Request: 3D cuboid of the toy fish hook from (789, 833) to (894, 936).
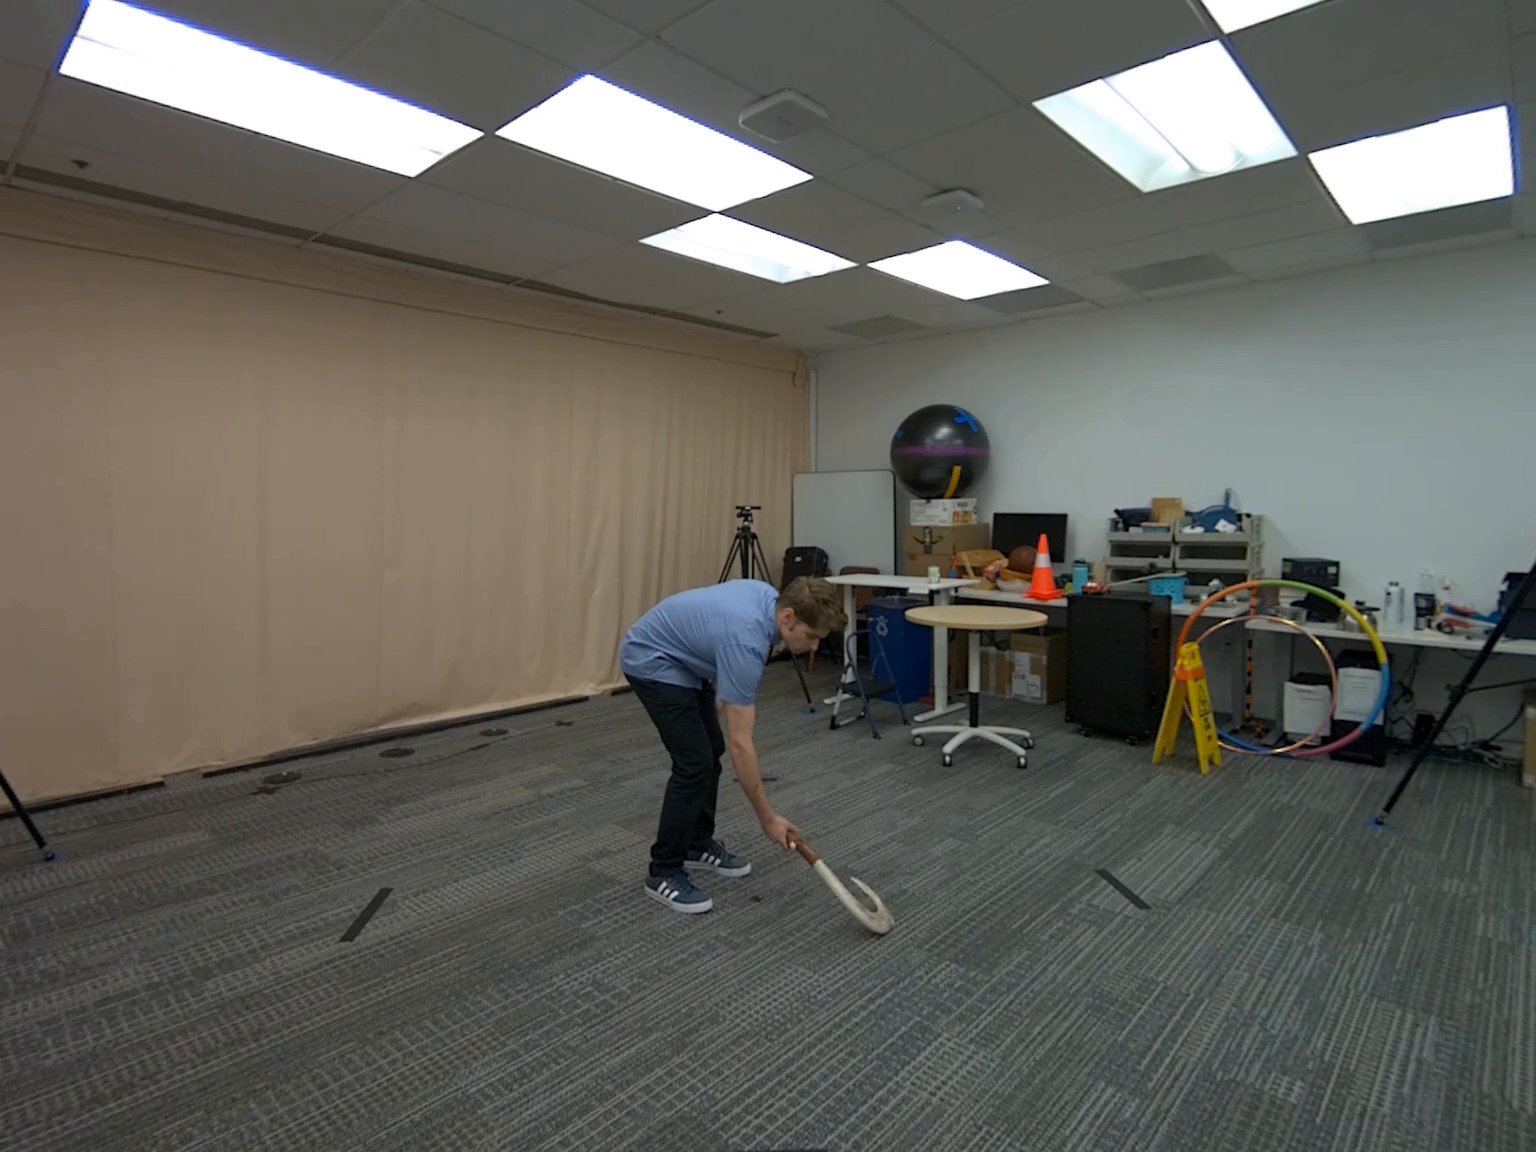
[{"bbox_3d":[0.223,1.001,2.857,0.519,0.048,0.219,41,8,21],"label":"toy fish hook"}]
